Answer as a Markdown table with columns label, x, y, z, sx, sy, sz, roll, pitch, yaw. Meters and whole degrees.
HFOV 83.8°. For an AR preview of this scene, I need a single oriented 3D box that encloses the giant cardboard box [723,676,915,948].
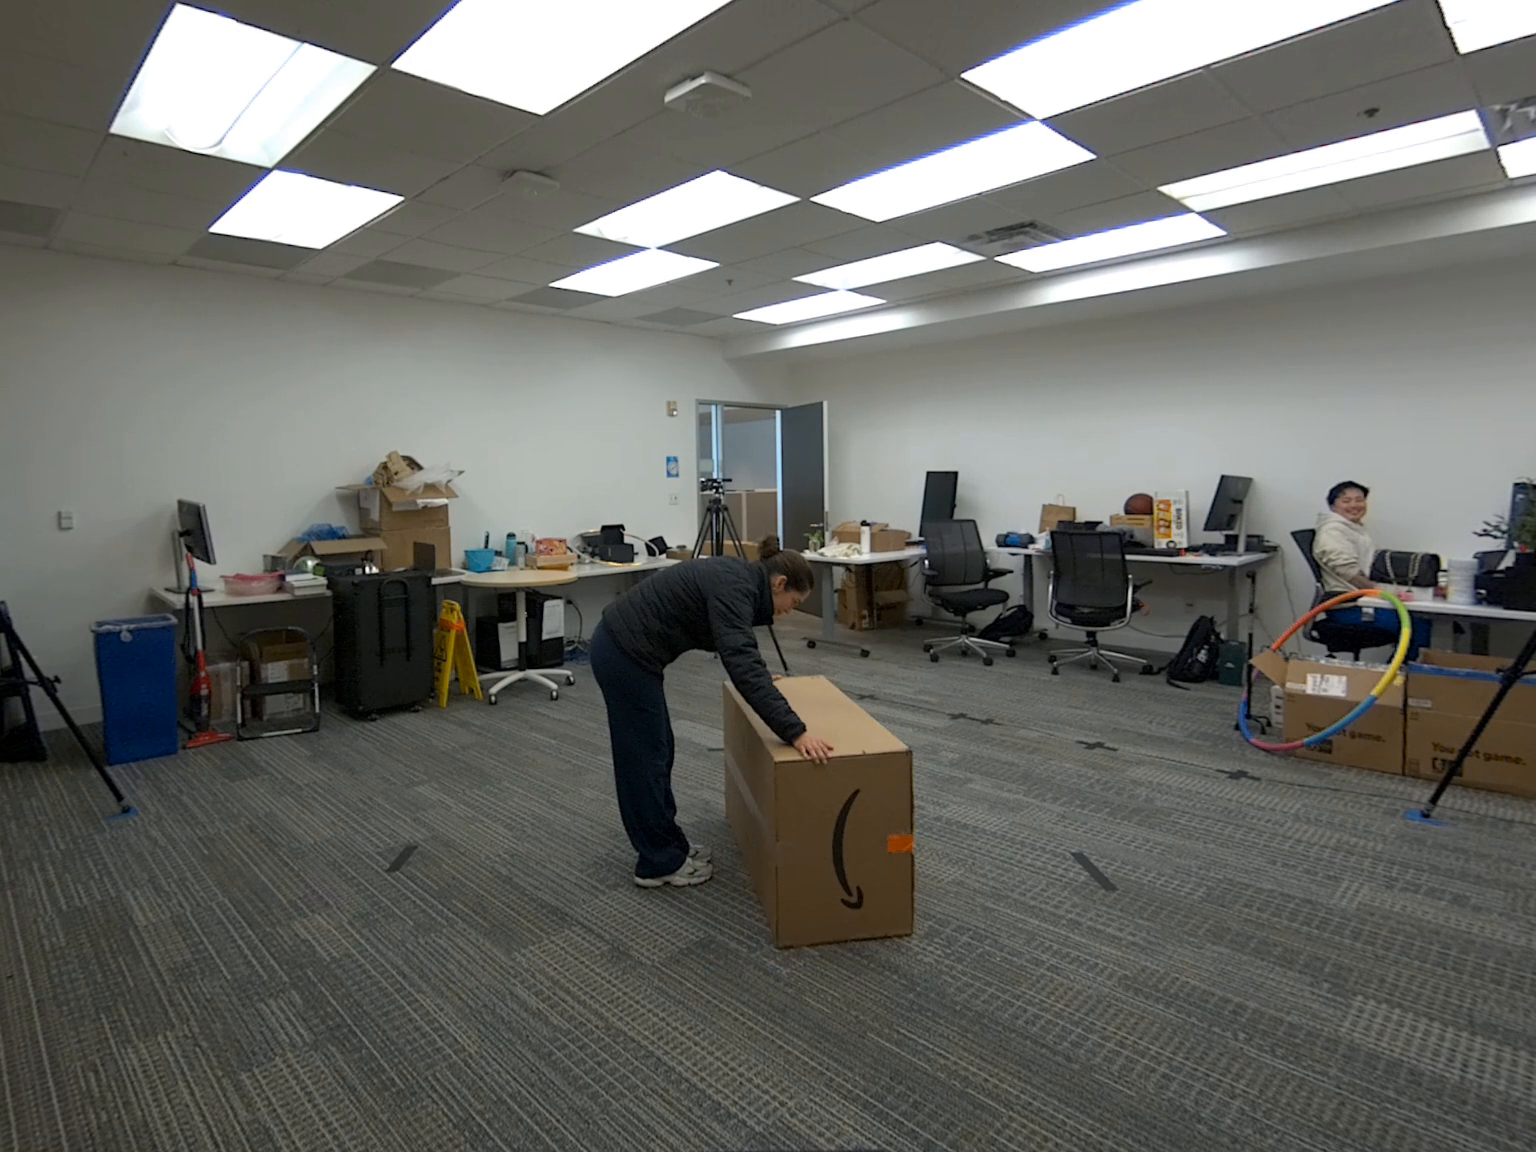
| label | x | y | z | sx | sy | sz | roll | pitch | yaw |
| --- | --- | --- | --- | --- | --- | --- | --- | --- | --- |
| giant cardboard box | 0.135 | 0.759 | 3.061 | 0.443 | 0.581 | 1.041 | -3 | 6 | -10 |
